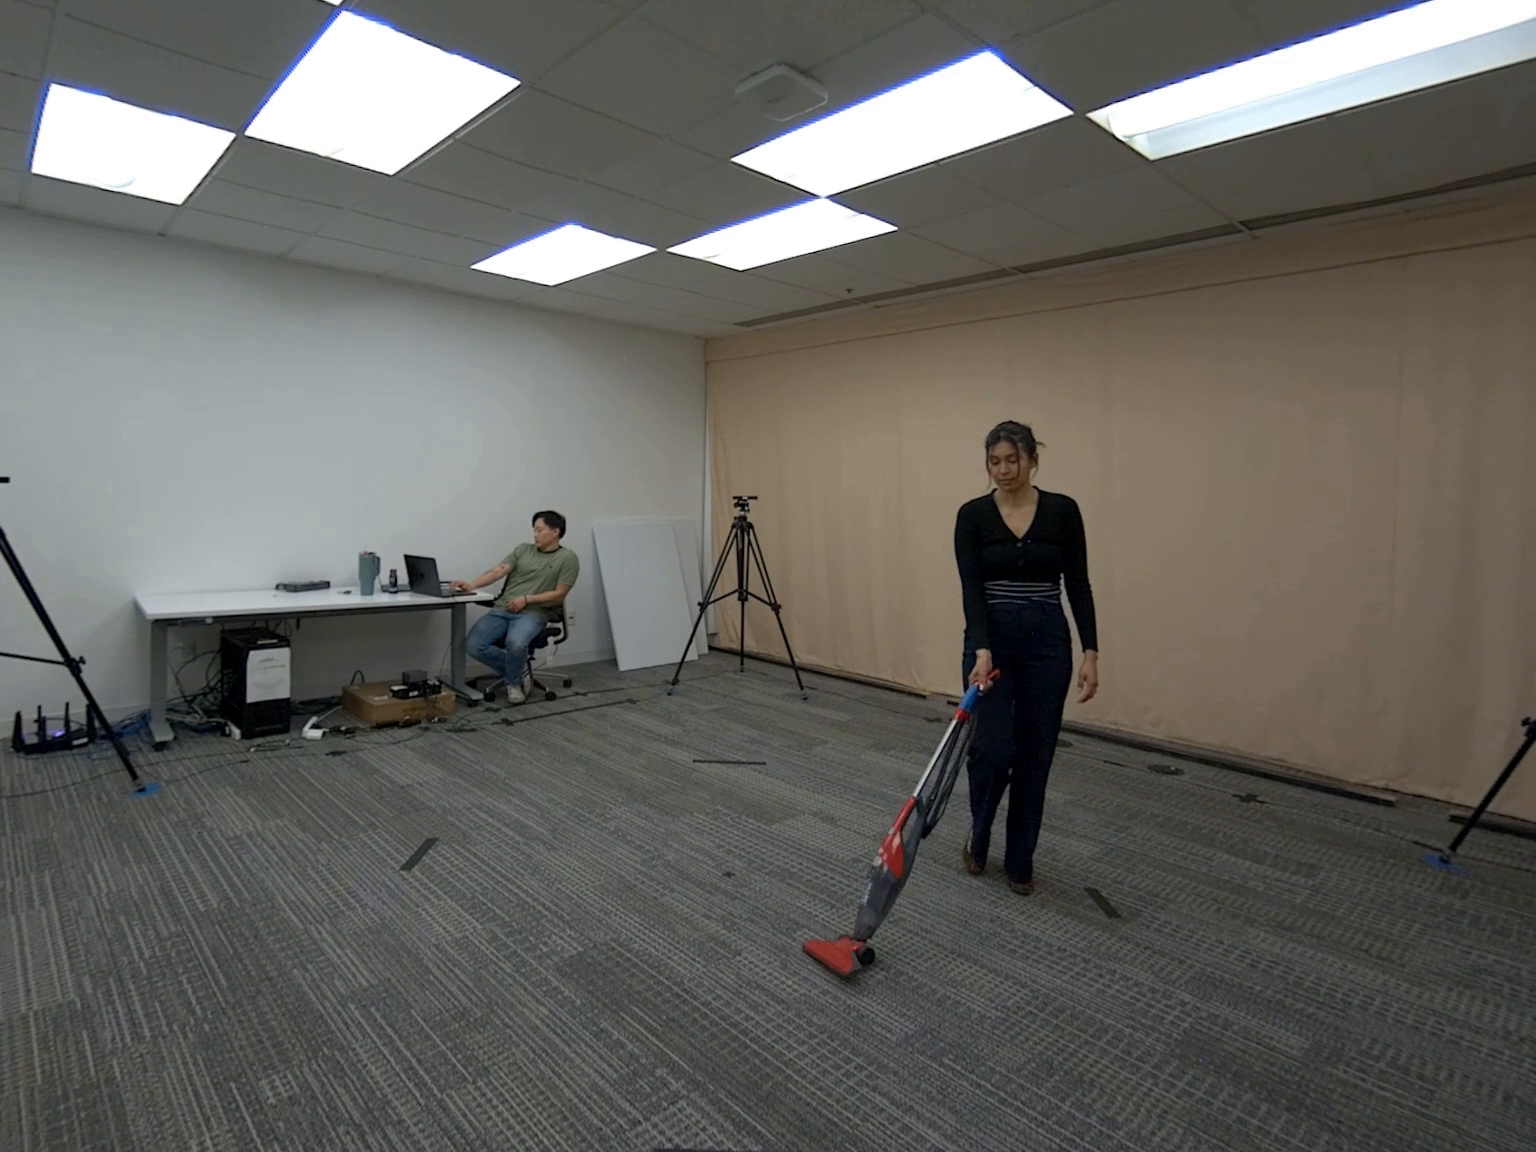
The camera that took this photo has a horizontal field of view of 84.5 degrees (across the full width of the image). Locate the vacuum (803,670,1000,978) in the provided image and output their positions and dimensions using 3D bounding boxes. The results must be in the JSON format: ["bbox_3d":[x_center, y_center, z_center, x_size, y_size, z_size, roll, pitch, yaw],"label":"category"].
[{"bbox_3d":[0.487,0.750,2.703,0.140,1.052,0.258,45,-23,-24],"label":"vacuum"}]
